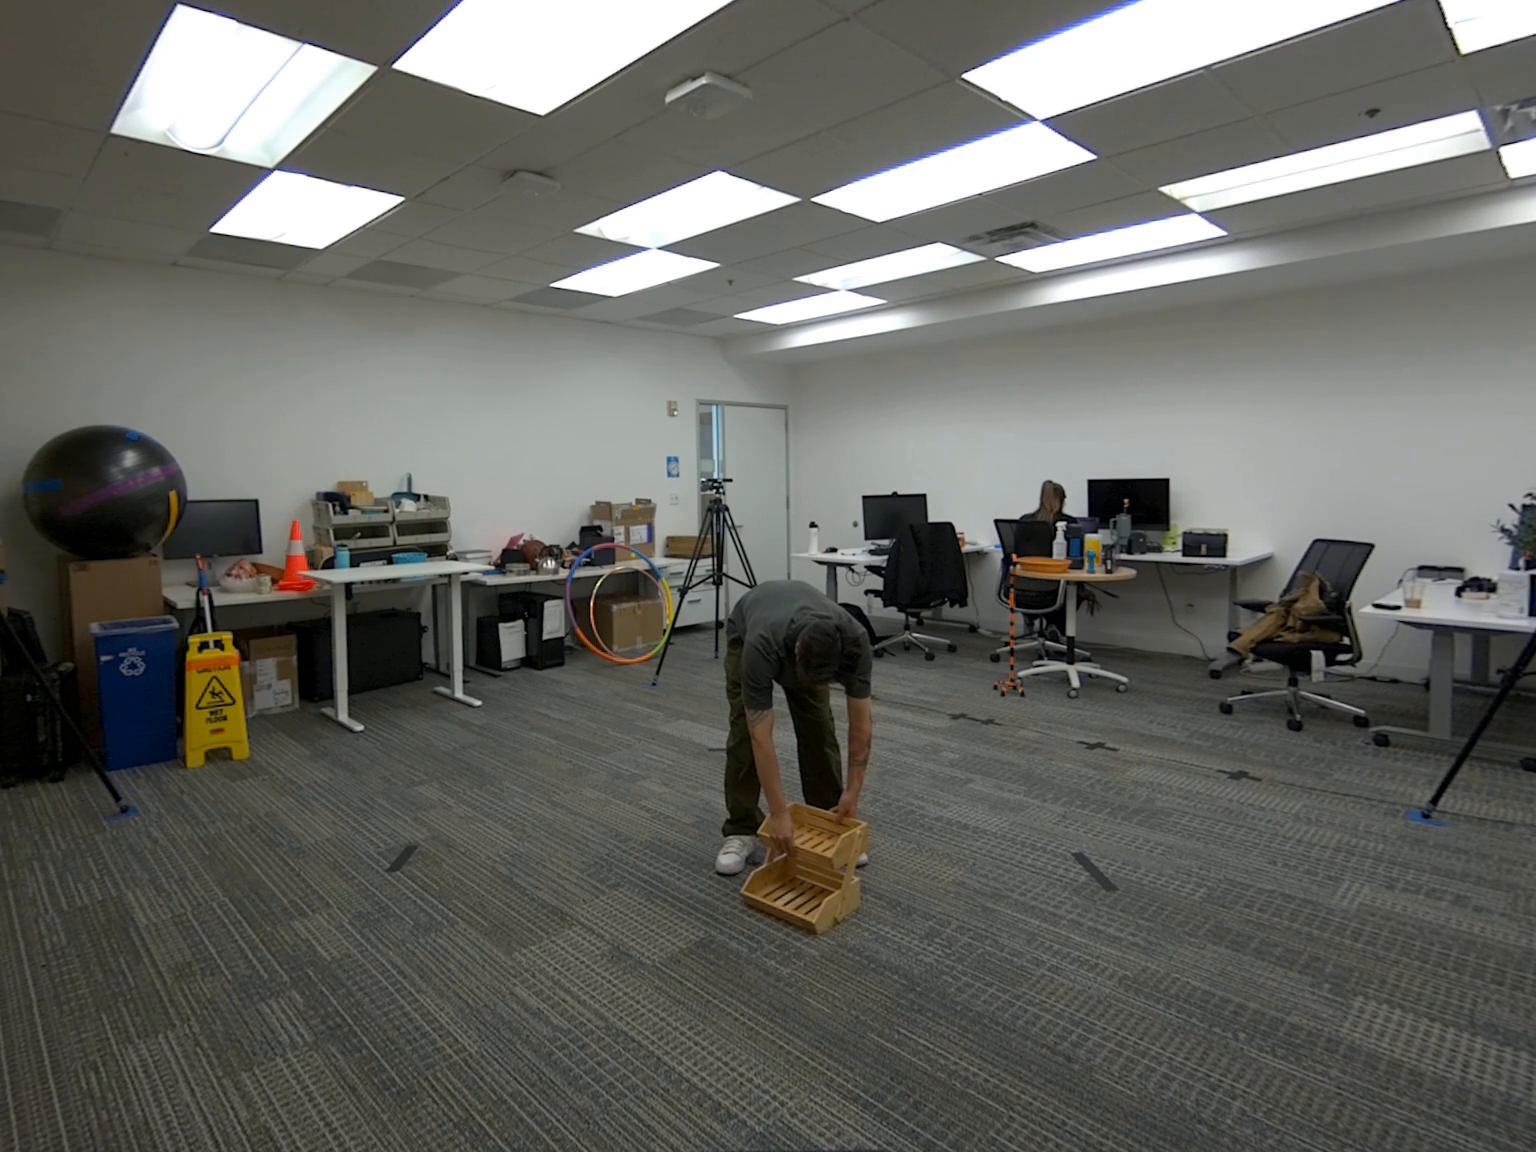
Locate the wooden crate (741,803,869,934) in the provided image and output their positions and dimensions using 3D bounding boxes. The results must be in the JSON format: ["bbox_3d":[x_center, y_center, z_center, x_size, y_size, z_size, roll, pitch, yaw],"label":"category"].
[{"bbox_3d":[0.124,0.942,2.798,0.334,0.272,0.294,4,6,41],"label":"wooden crate"}]
